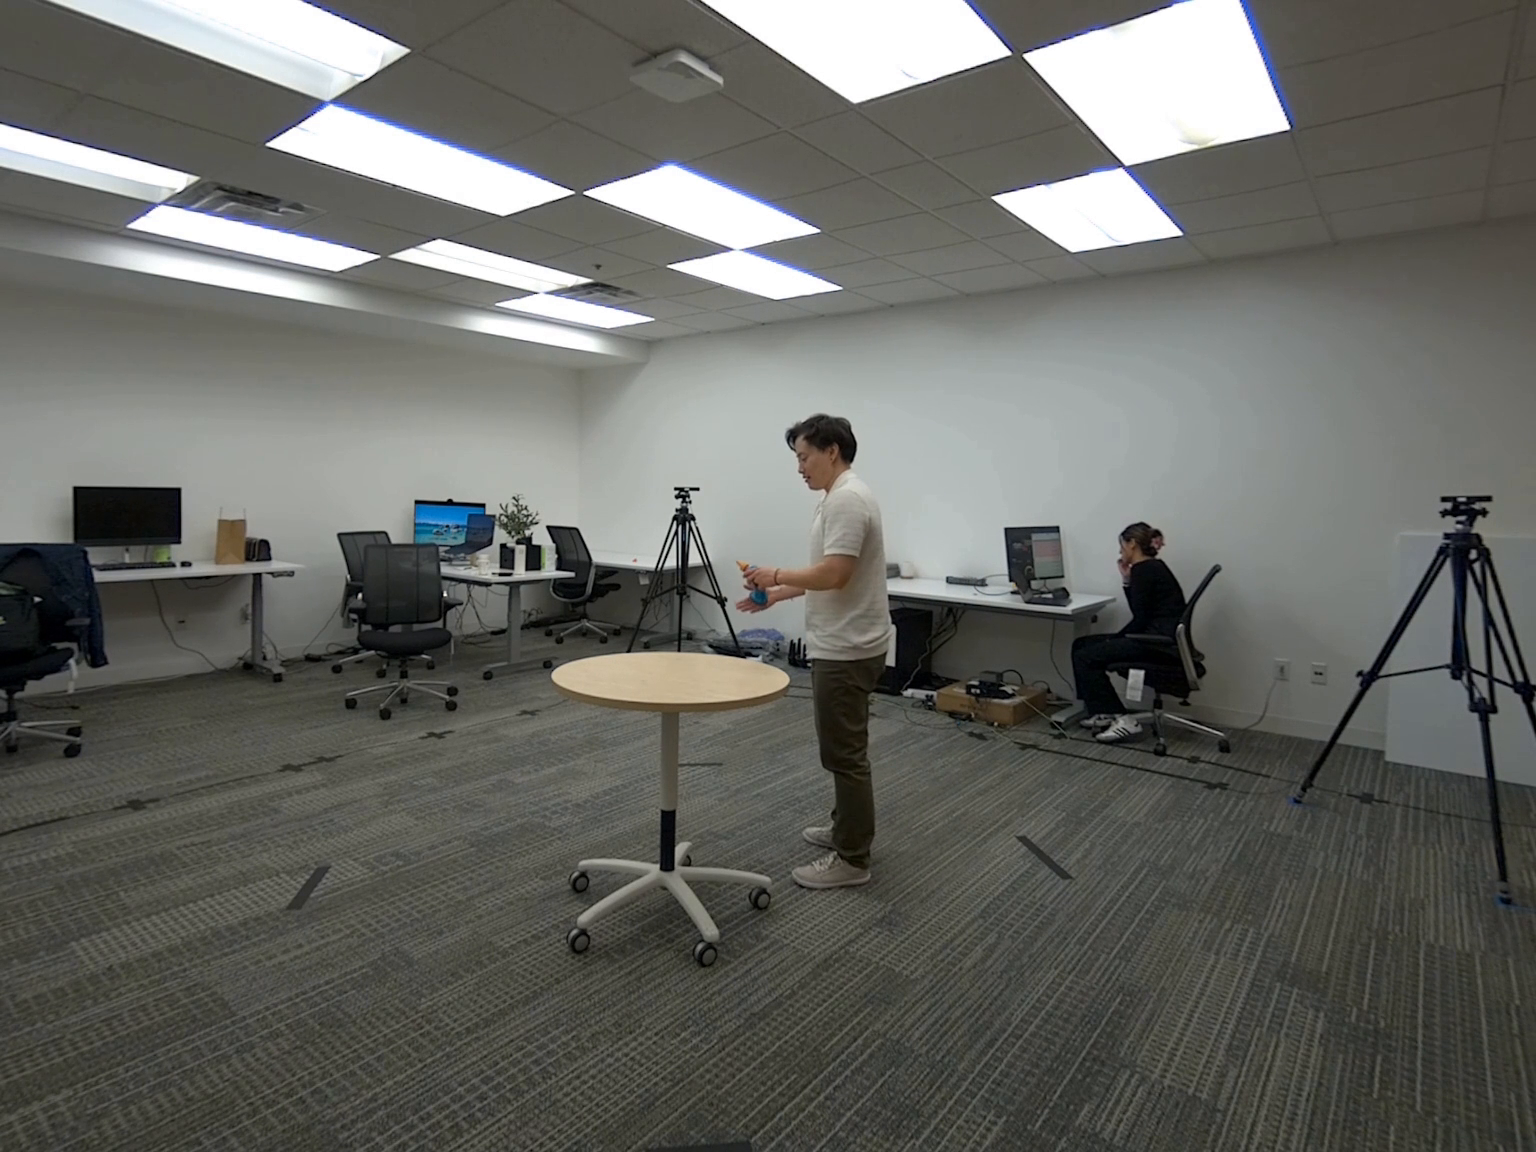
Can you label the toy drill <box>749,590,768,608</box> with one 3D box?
[{"bbox_3d":[-0.075,0.017,3.126,0.176,0.142,0.060,32,48,27],"label":"toy drill"}]
